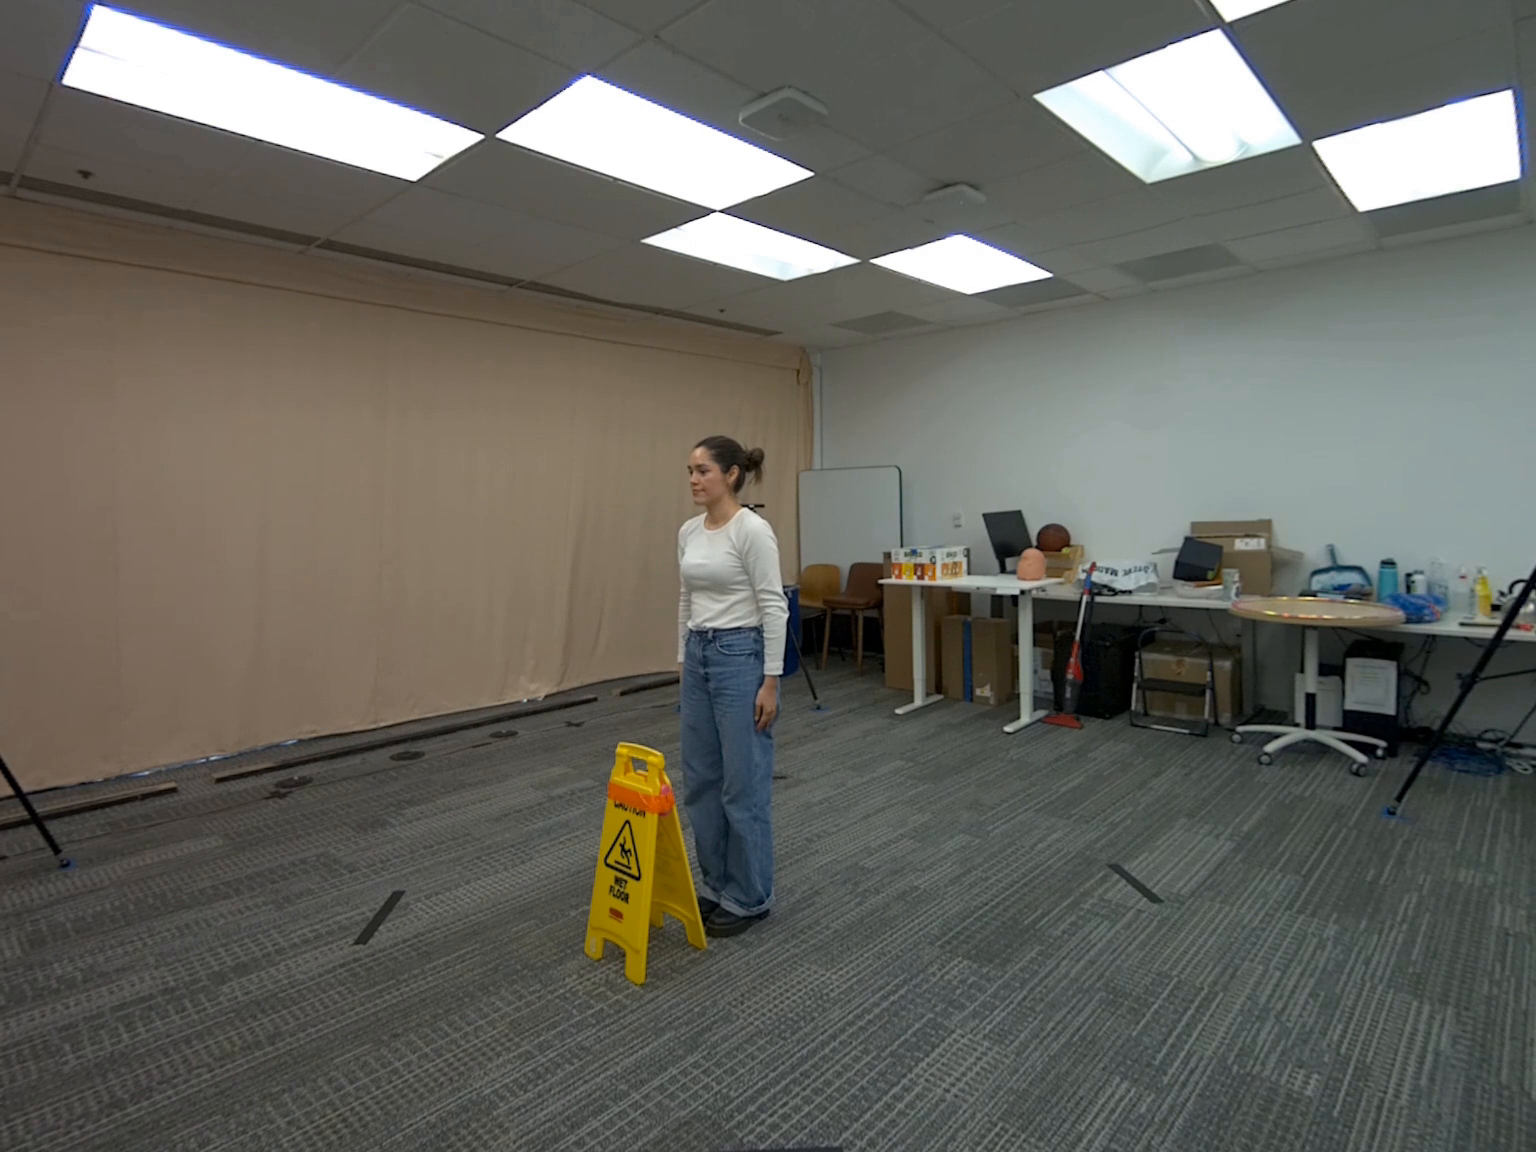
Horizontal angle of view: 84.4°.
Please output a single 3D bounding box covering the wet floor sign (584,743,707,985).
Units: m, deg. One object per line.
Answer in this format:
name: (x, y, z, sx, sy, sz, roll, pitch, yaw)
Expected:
wet floor sign: (-0.388, 0.854, 2.620, 0.291, 0.645, 0.281, 0, 4, 43)
